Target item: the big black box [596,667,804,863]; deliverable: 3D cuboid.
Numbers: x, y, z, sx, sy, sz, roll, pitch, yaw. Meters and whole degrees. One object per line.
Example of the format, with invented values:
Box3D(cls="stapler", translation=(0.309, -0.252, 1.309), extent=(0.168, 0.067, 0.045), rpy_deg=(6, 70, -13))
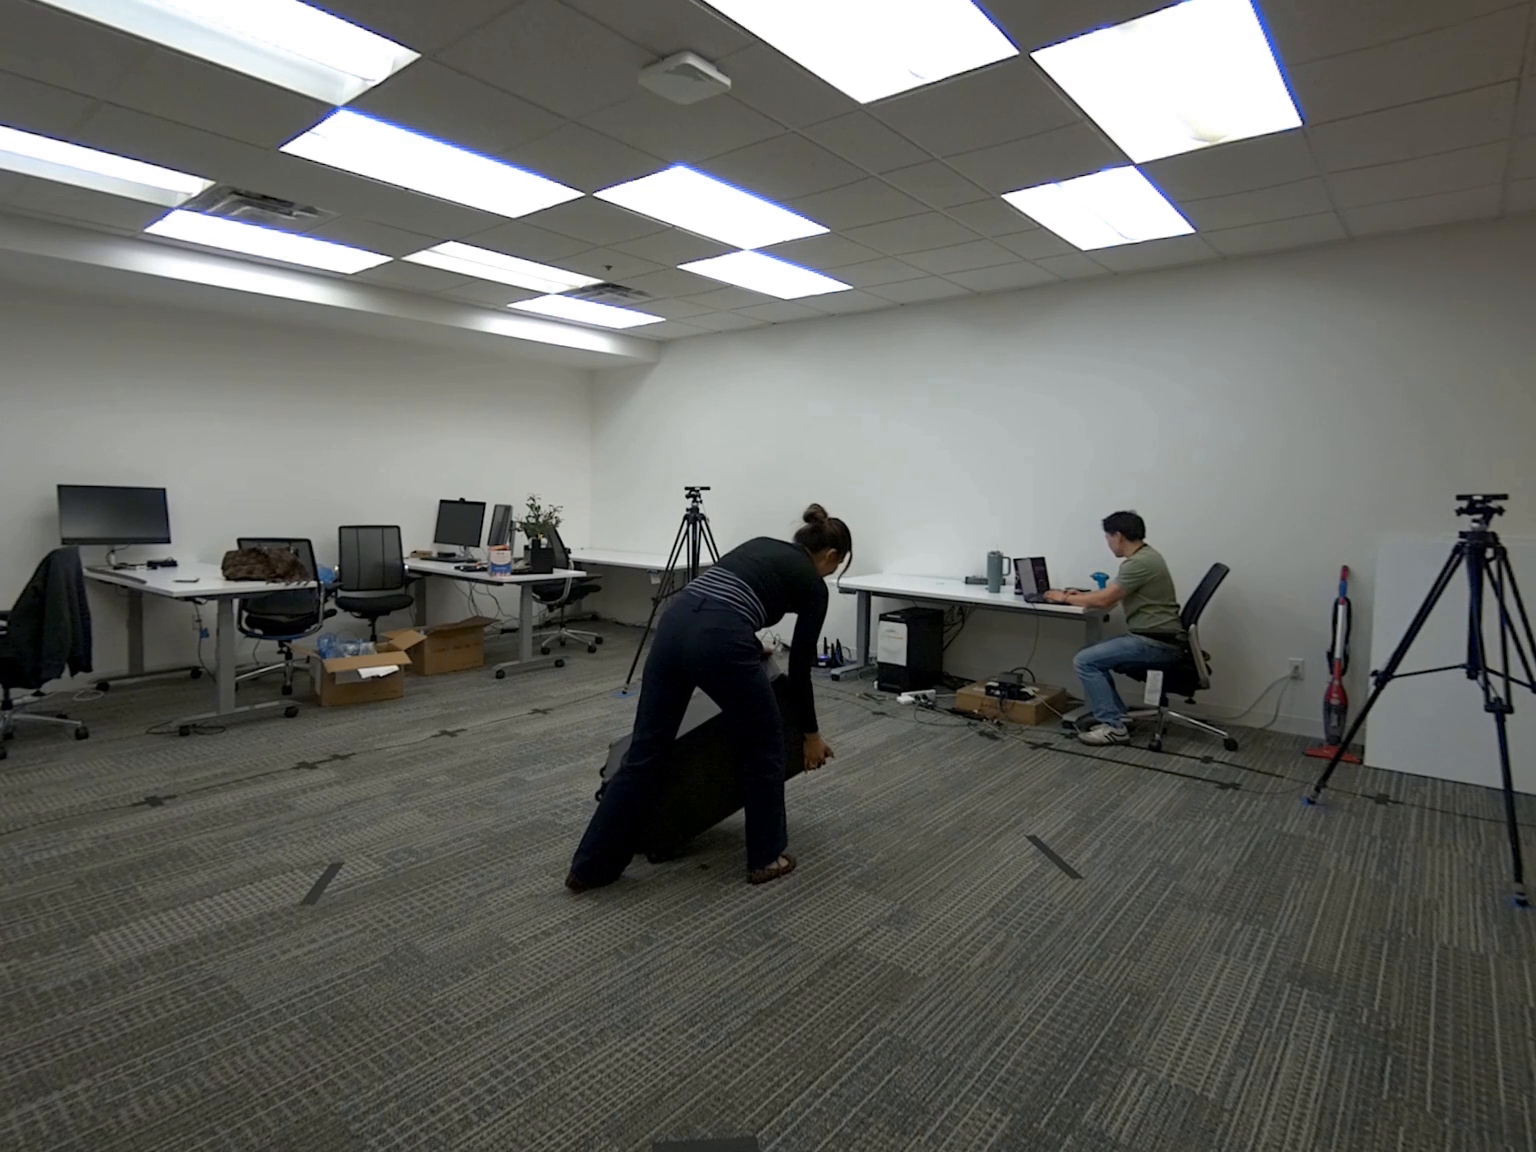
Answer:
Box3D(cls="big black box", translation=(-0.245, 0.706, 3.371), extent=(0.860, 0.393, 0.527), rpy_deg=(-30, 8, -2))
